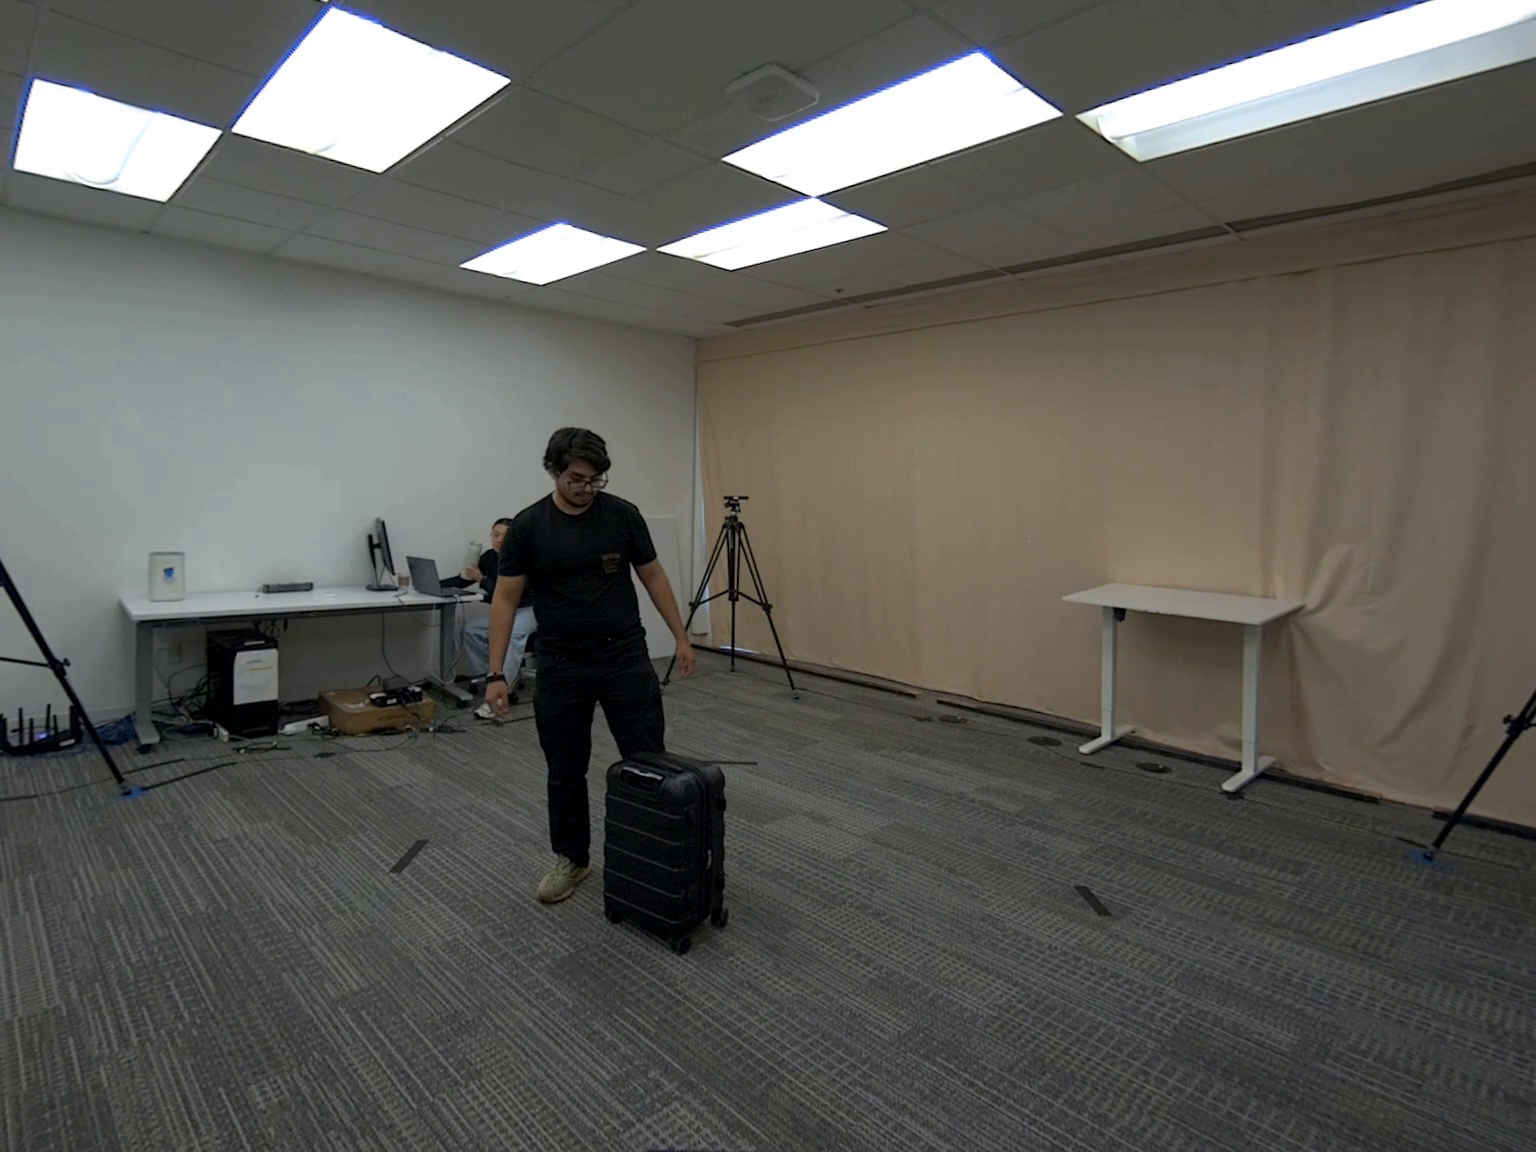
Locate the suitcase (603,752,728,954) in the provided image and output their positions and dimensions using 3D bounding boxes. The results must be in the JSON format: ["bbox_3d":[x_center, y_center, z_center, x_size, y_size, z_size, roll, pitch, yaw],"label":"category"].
[{"bbox_3d":[-0.339,0.860,2.713,0.384,0.548,0.243,3,4,36],"label":"suitcase"}]
